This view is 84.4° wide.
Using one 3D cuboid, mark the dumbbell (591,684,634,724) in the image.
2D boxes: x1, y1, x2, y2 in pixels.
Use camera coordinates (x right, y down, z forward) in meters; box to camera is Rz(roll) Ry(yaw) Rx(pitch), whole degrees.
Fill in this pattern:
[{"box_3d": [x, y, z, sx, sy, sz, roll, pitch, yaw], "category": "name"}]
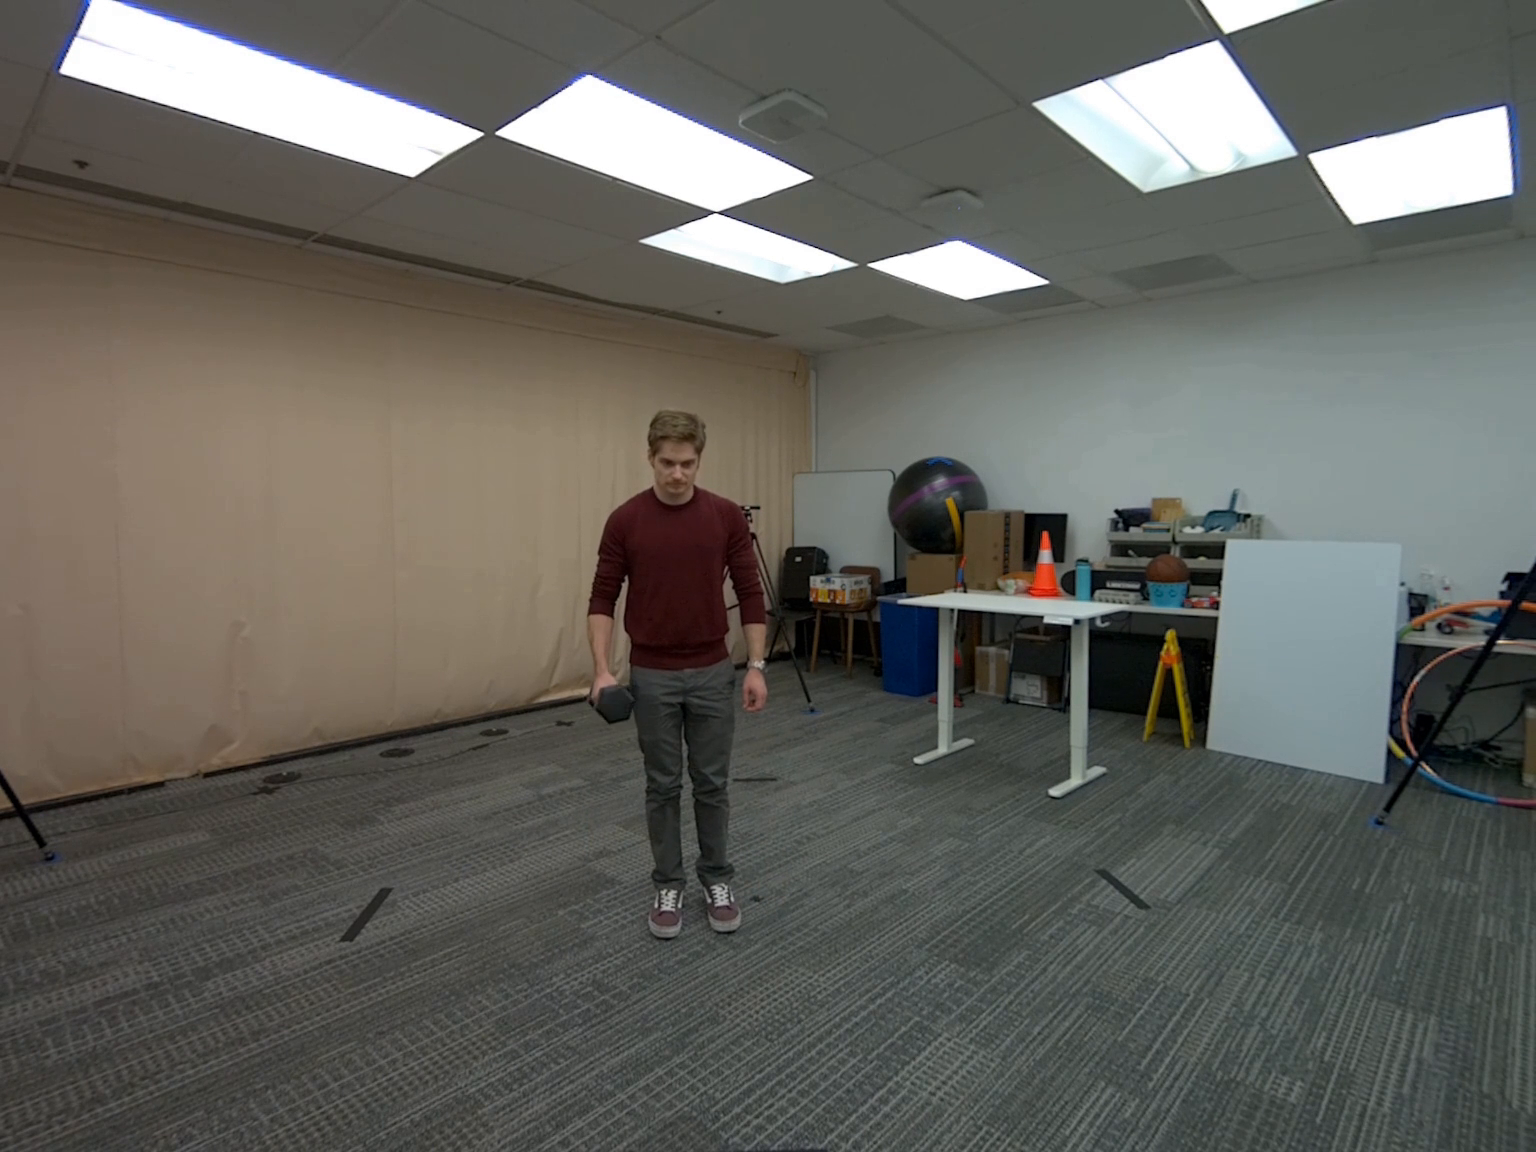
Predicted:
[{"box_3d": [-0.504, 0.388, 2.656, 0.107, 0.123, 0.297, 21, -7, -14], "category": "dumbbell"}]
